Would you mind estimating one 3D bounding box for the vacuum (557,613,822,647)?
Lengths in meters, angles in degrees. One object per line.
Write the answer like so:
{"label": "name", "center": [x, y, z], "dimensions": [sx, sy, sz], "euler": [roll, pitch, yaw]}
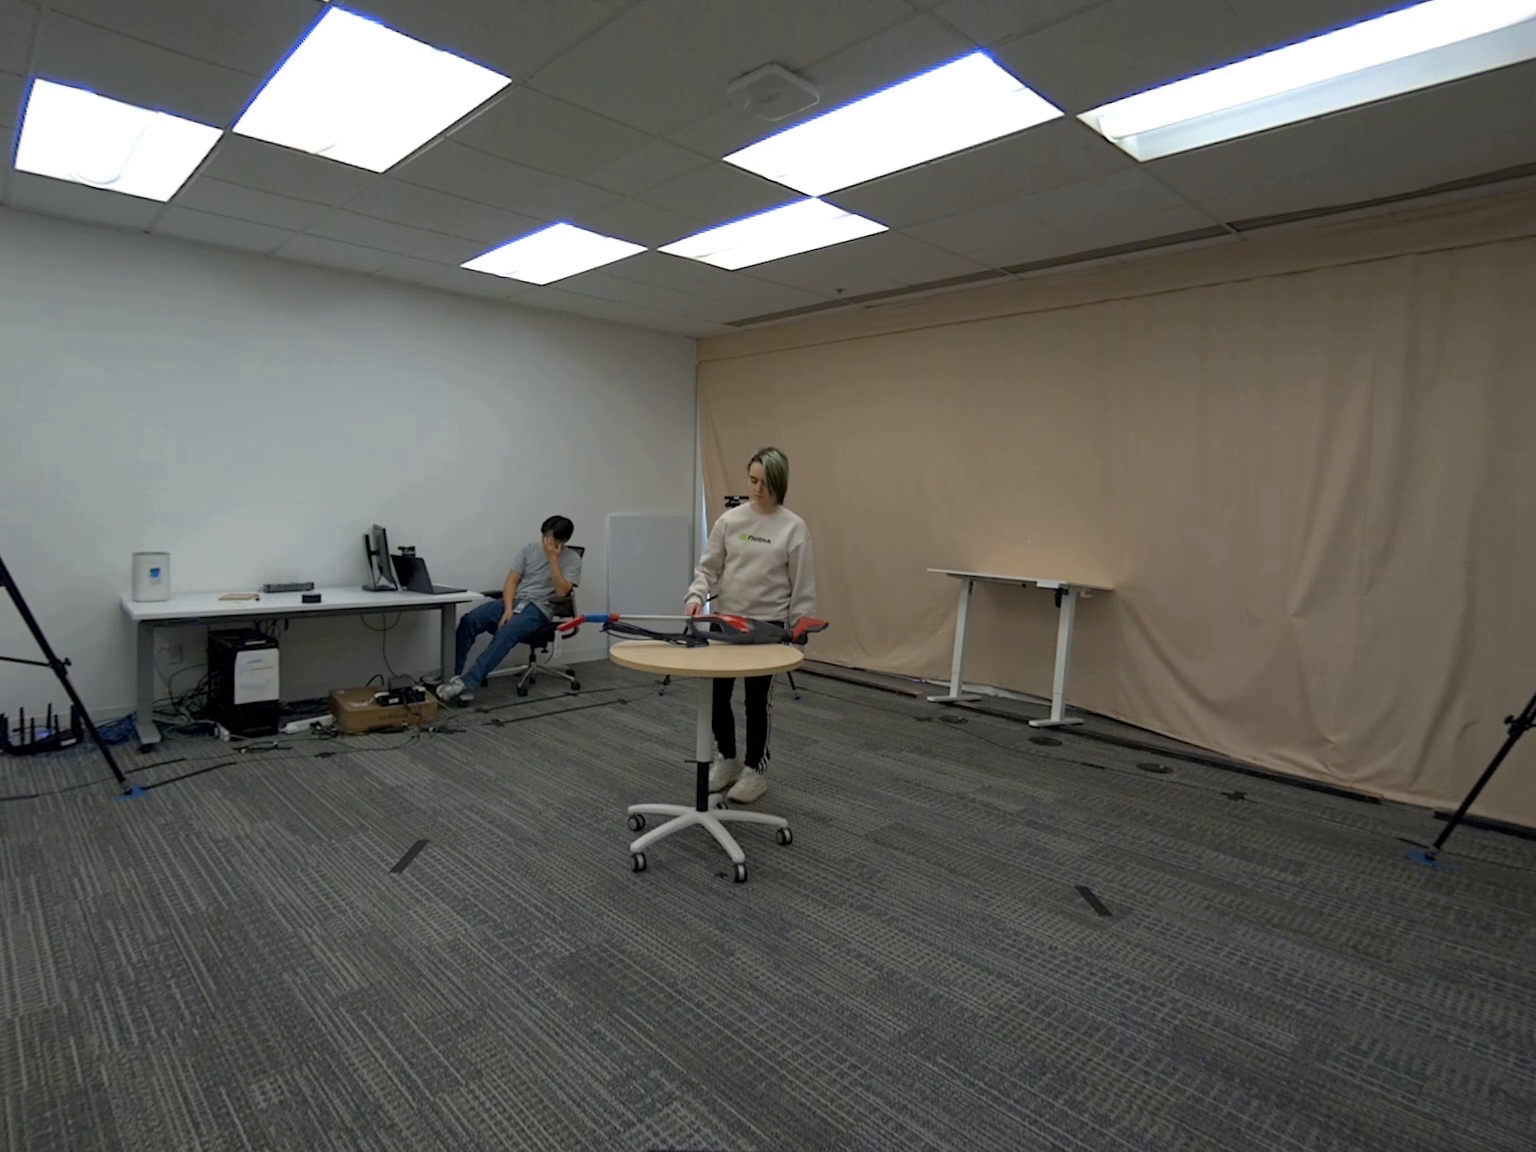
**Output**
{"label": "vacuum", "center": [-0.341, 0.232, 3.452], "dimensions": [1.031, 0.144, 0.256], "euler": [2, -2, -23]}
